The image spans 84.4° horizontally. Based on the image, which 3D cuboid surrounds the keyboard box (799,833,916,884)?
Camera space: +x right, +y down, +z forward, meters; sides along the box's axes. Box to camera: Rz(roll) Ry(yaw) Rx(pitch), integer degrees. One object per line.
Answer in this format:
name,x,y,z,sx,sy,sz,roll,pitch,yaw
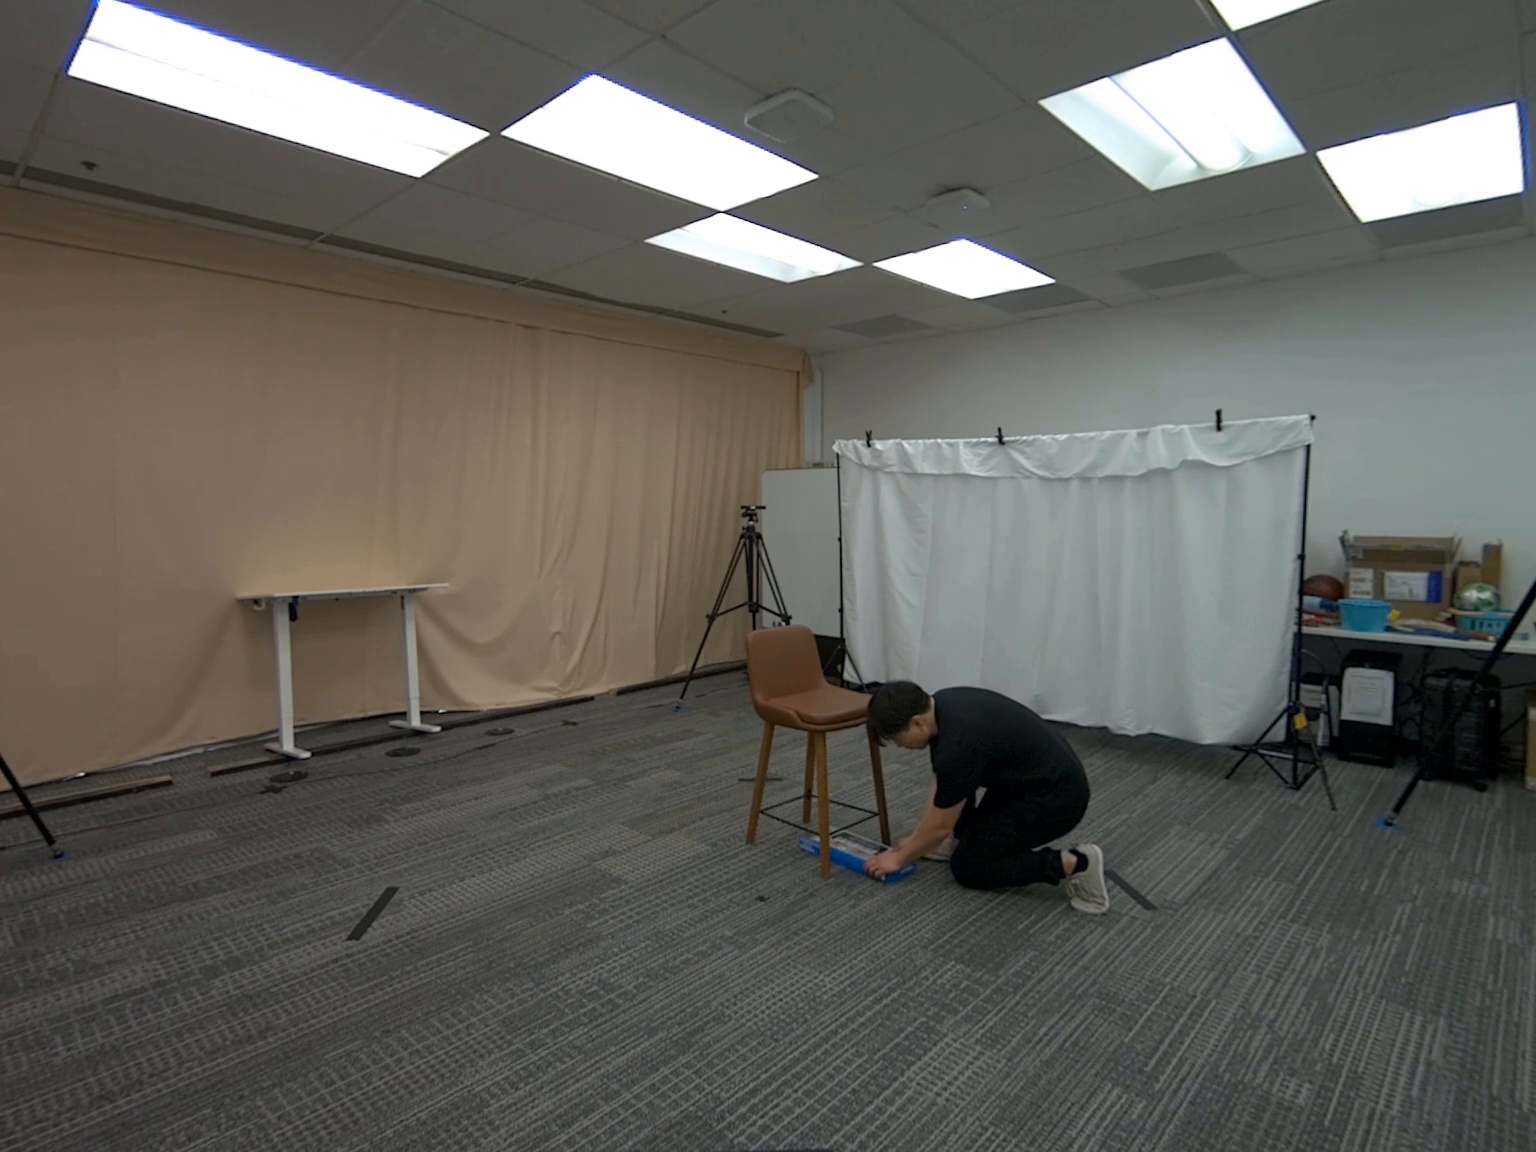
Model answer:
keyboard box,0.350,1.092,3.317,0.170,0.059,0.451,-4,6,-44
